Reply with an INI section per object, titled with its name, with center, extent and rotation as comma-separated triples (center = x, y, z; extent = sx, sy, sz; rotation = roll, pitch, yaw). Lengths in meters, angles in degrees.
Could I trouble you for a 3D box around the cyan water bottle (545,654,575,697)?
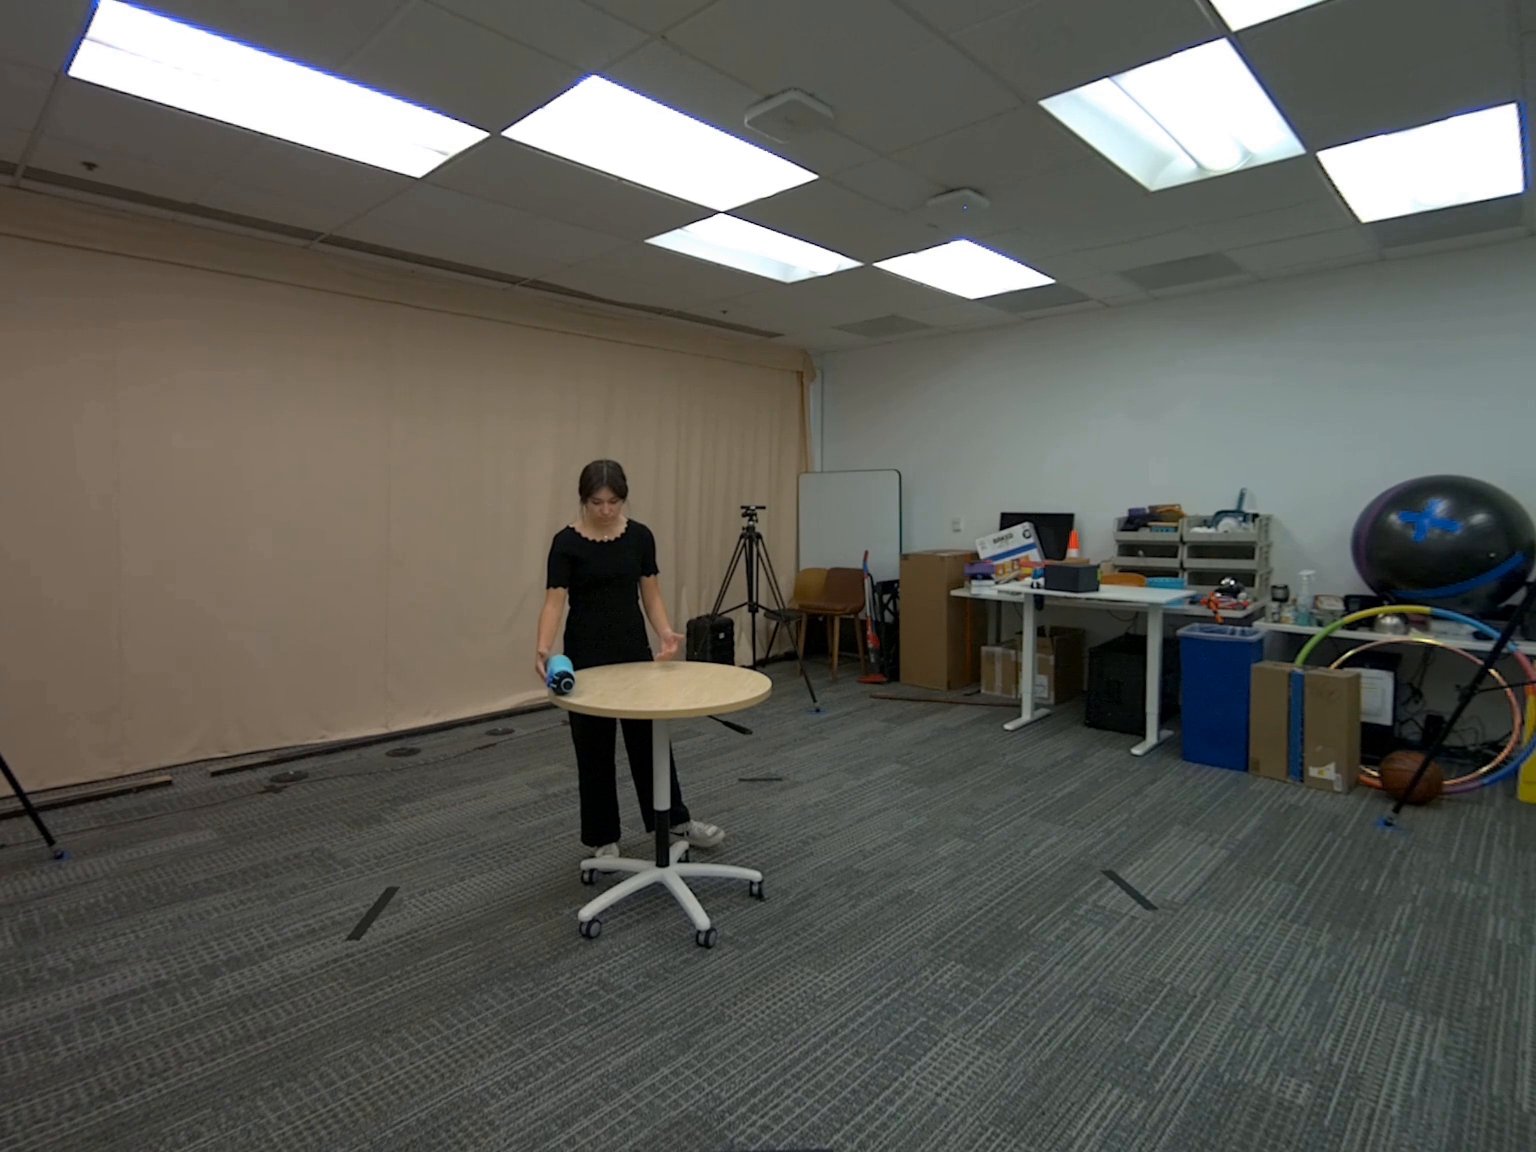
[cyan water bottle]
center = -0.680, 0.331, 2.818
extent = 0.091, 0.092, 0.288
rotation = -1, 5, -13
